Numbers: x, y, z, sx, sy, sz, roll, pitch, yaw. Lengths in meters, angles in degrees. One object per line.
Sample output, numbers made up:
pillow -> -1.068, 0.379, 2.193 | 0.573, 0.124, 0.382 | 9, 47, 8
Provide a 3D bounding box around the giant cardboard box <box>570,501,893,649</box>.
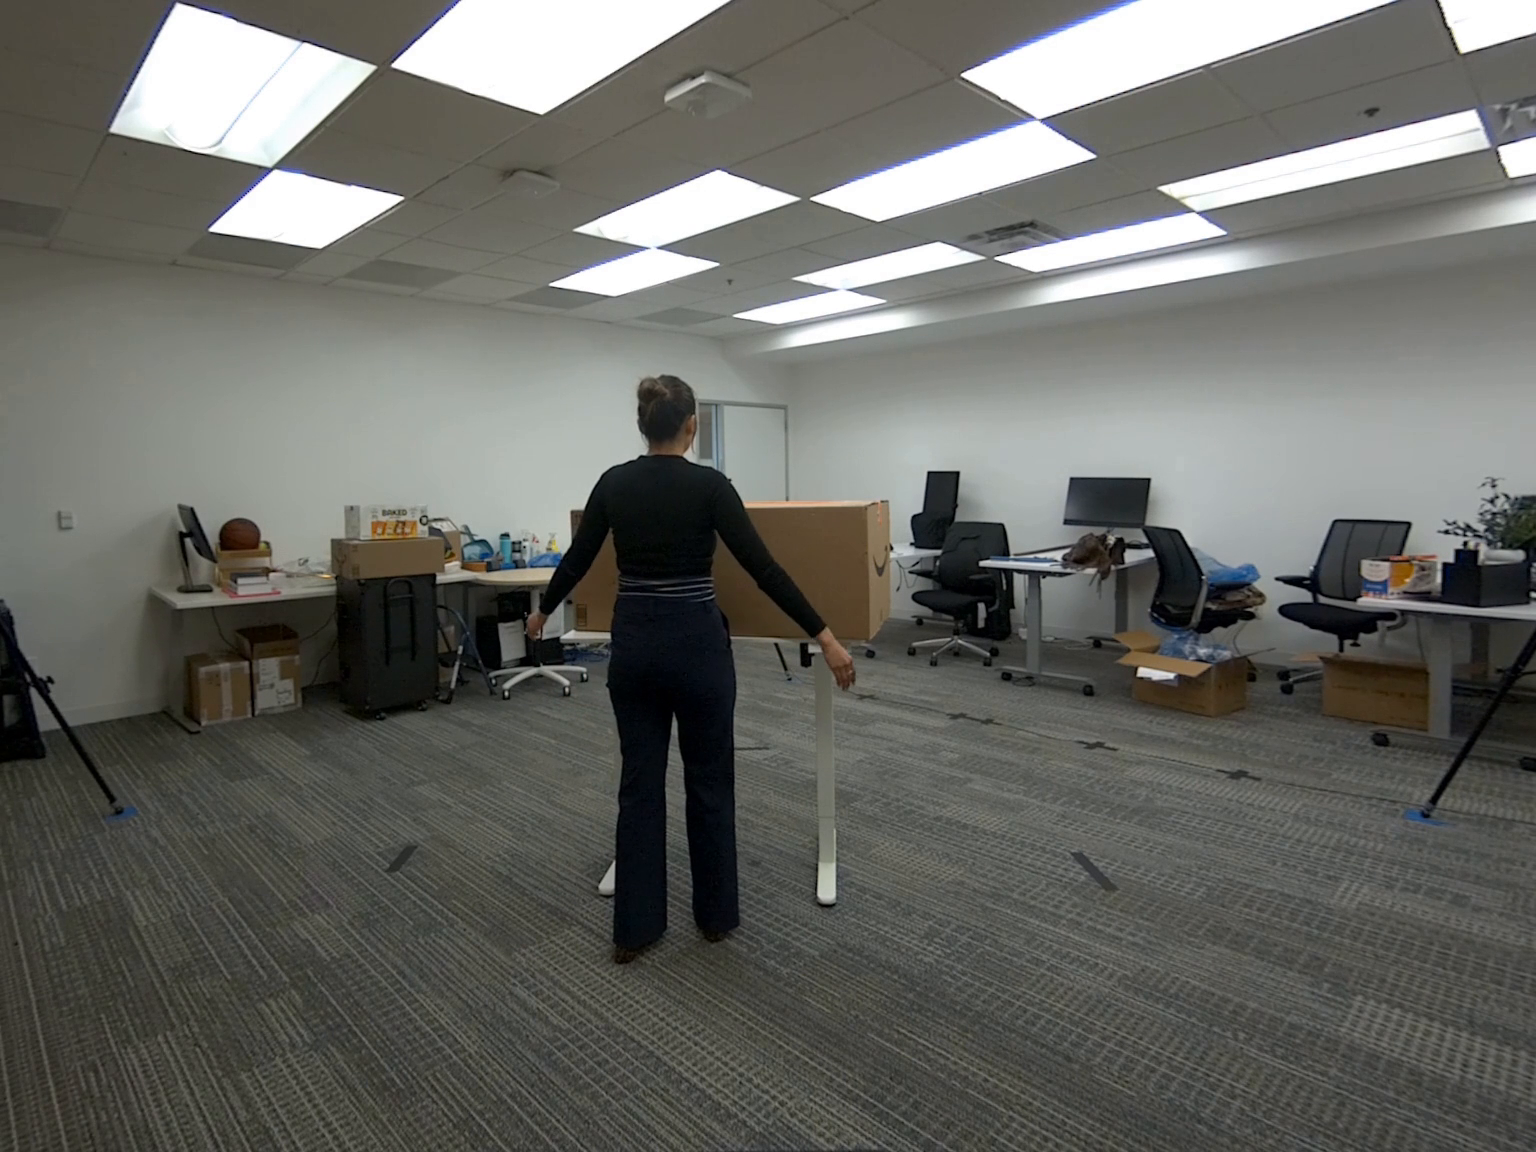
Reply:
giant cardboard box -> -0.112, -0.047, 3.055 | 1.043, 0.425, 0.570 | 0, 5, 17
